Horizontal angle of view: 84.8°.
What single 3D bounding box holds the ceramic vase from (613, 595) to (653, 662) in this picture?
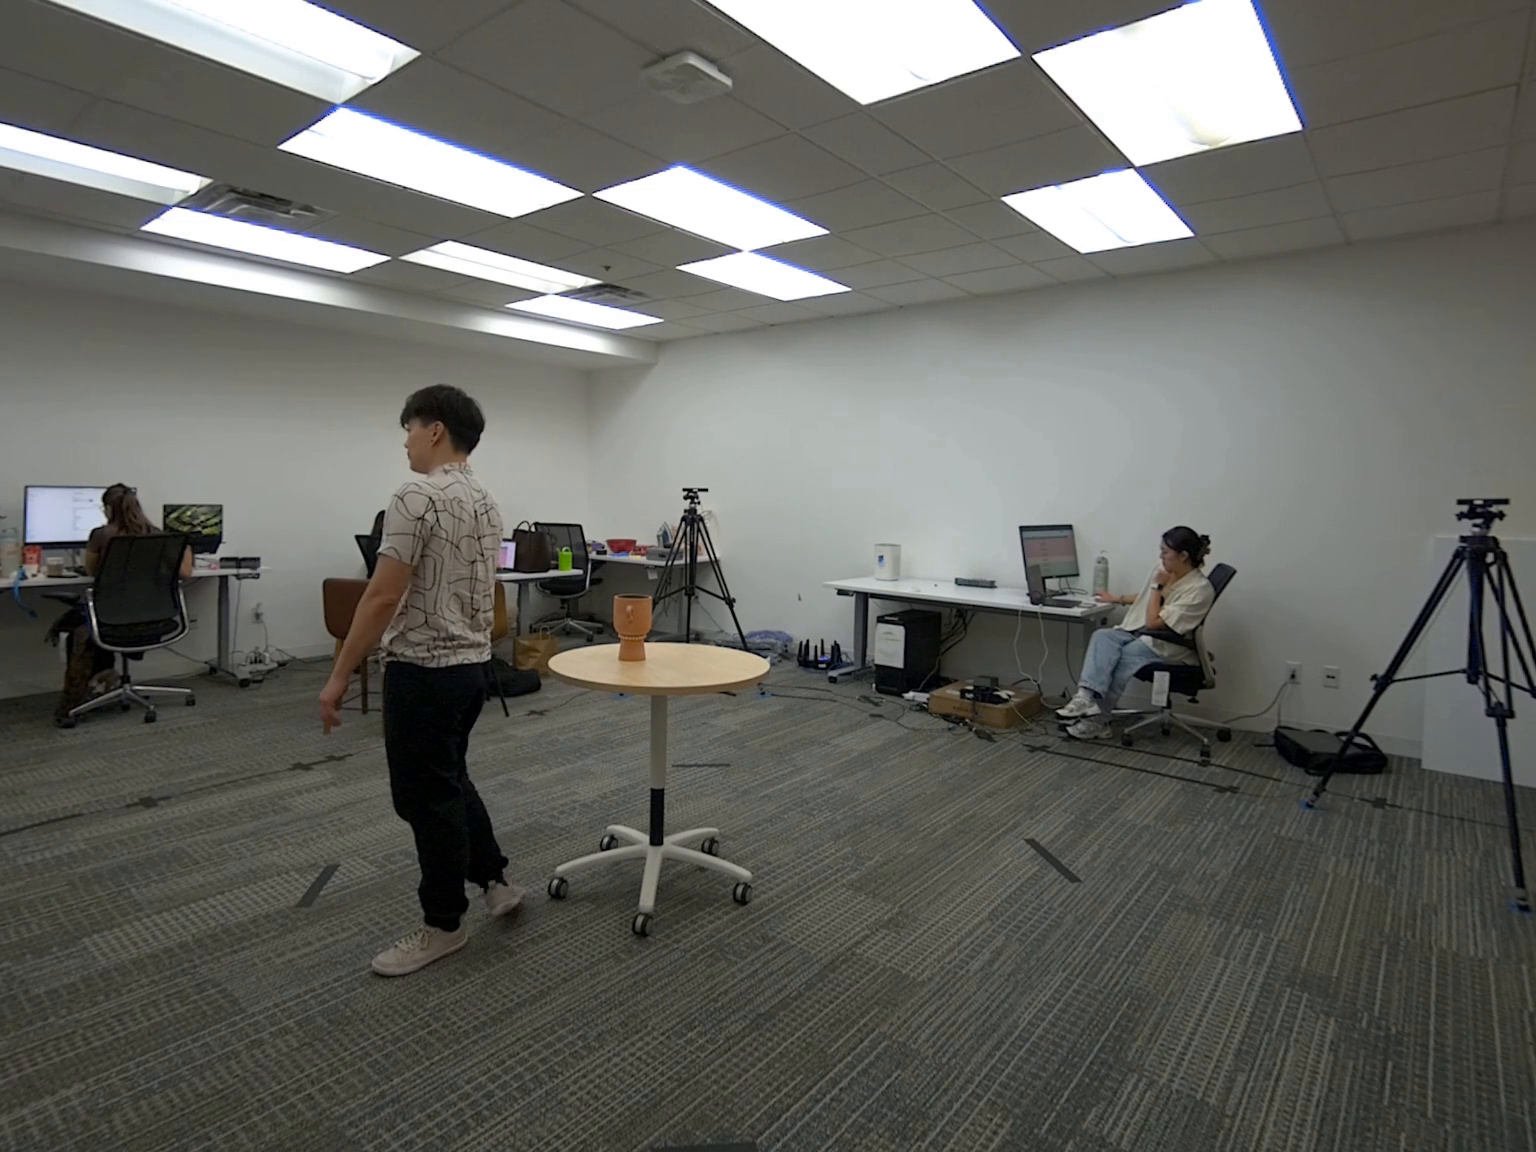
[{"bbox_3d":[-0.488,0.179,2.999,0.139,0.219,0.154,4,5,38],"label":"ceramic vase"}]
